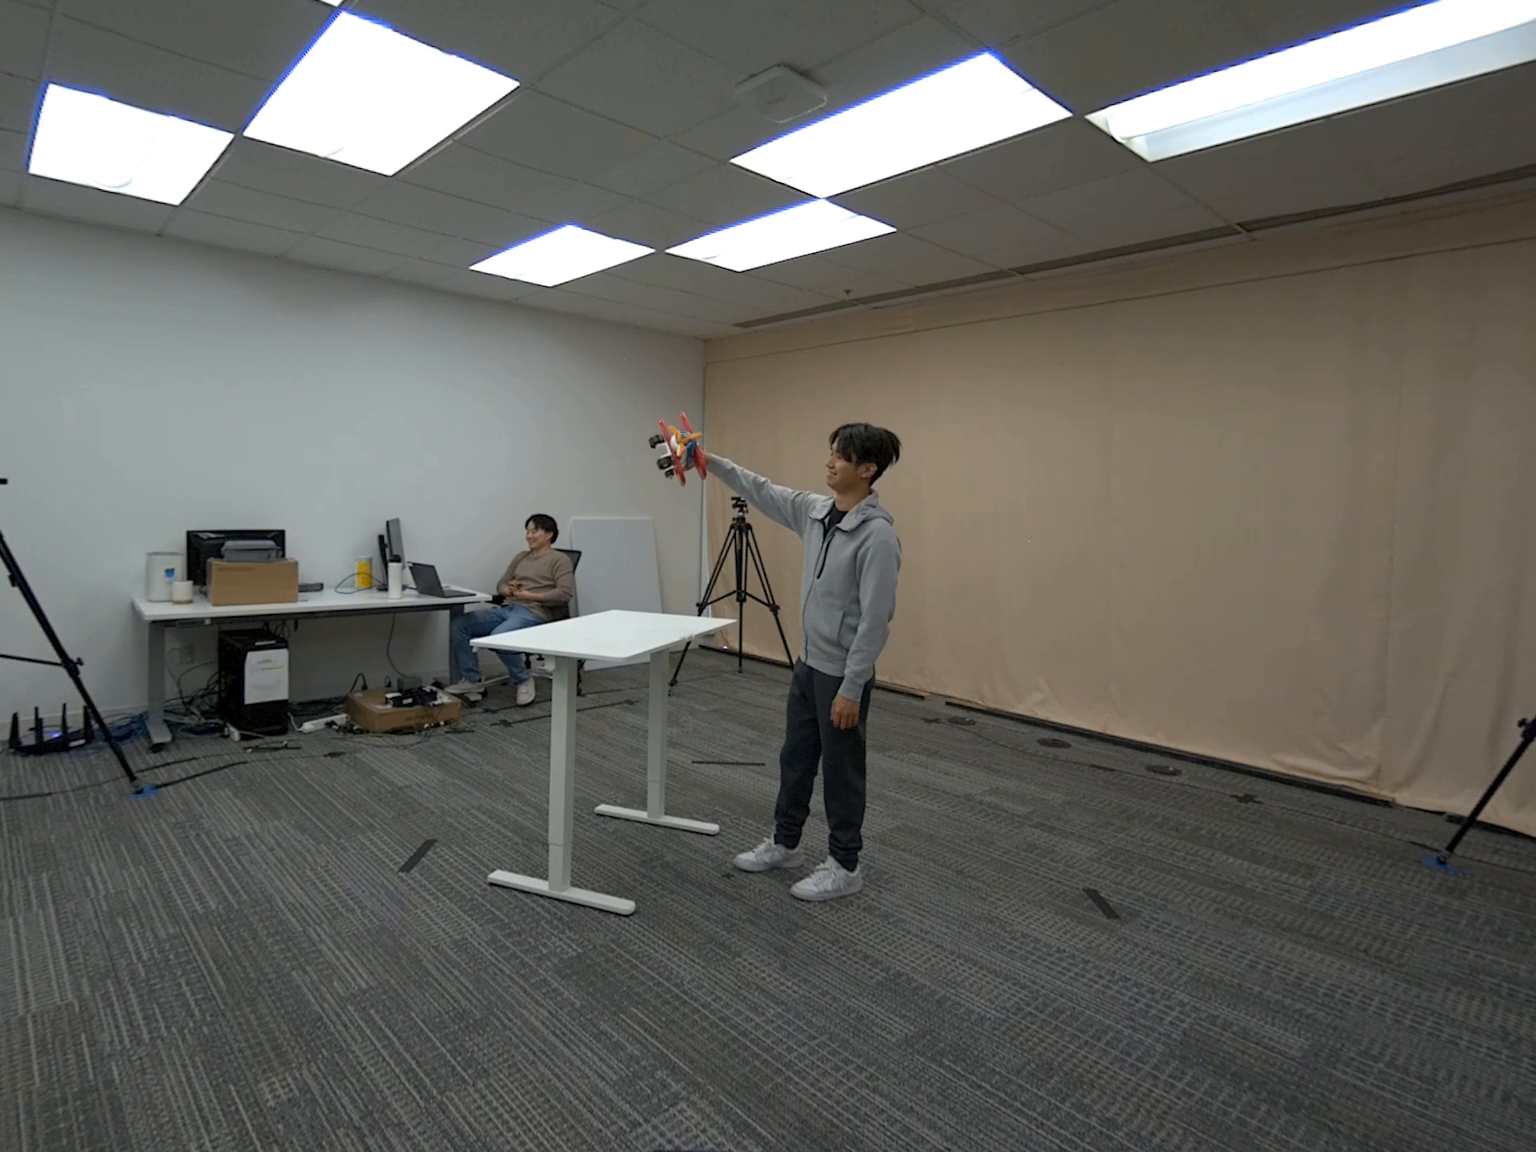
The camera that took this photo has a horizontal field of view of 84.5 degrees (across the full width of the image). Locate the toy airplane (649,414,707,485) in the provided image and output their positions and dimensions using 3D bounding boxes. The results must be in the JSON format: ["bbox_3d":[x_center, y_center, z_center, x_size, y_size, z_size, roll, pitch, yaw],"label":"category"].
[{"bbox_3d":[-0.328,-0.437,2.992,0.156,0.248,0.262,-22,13,0],"label":"toy airplane"}]
